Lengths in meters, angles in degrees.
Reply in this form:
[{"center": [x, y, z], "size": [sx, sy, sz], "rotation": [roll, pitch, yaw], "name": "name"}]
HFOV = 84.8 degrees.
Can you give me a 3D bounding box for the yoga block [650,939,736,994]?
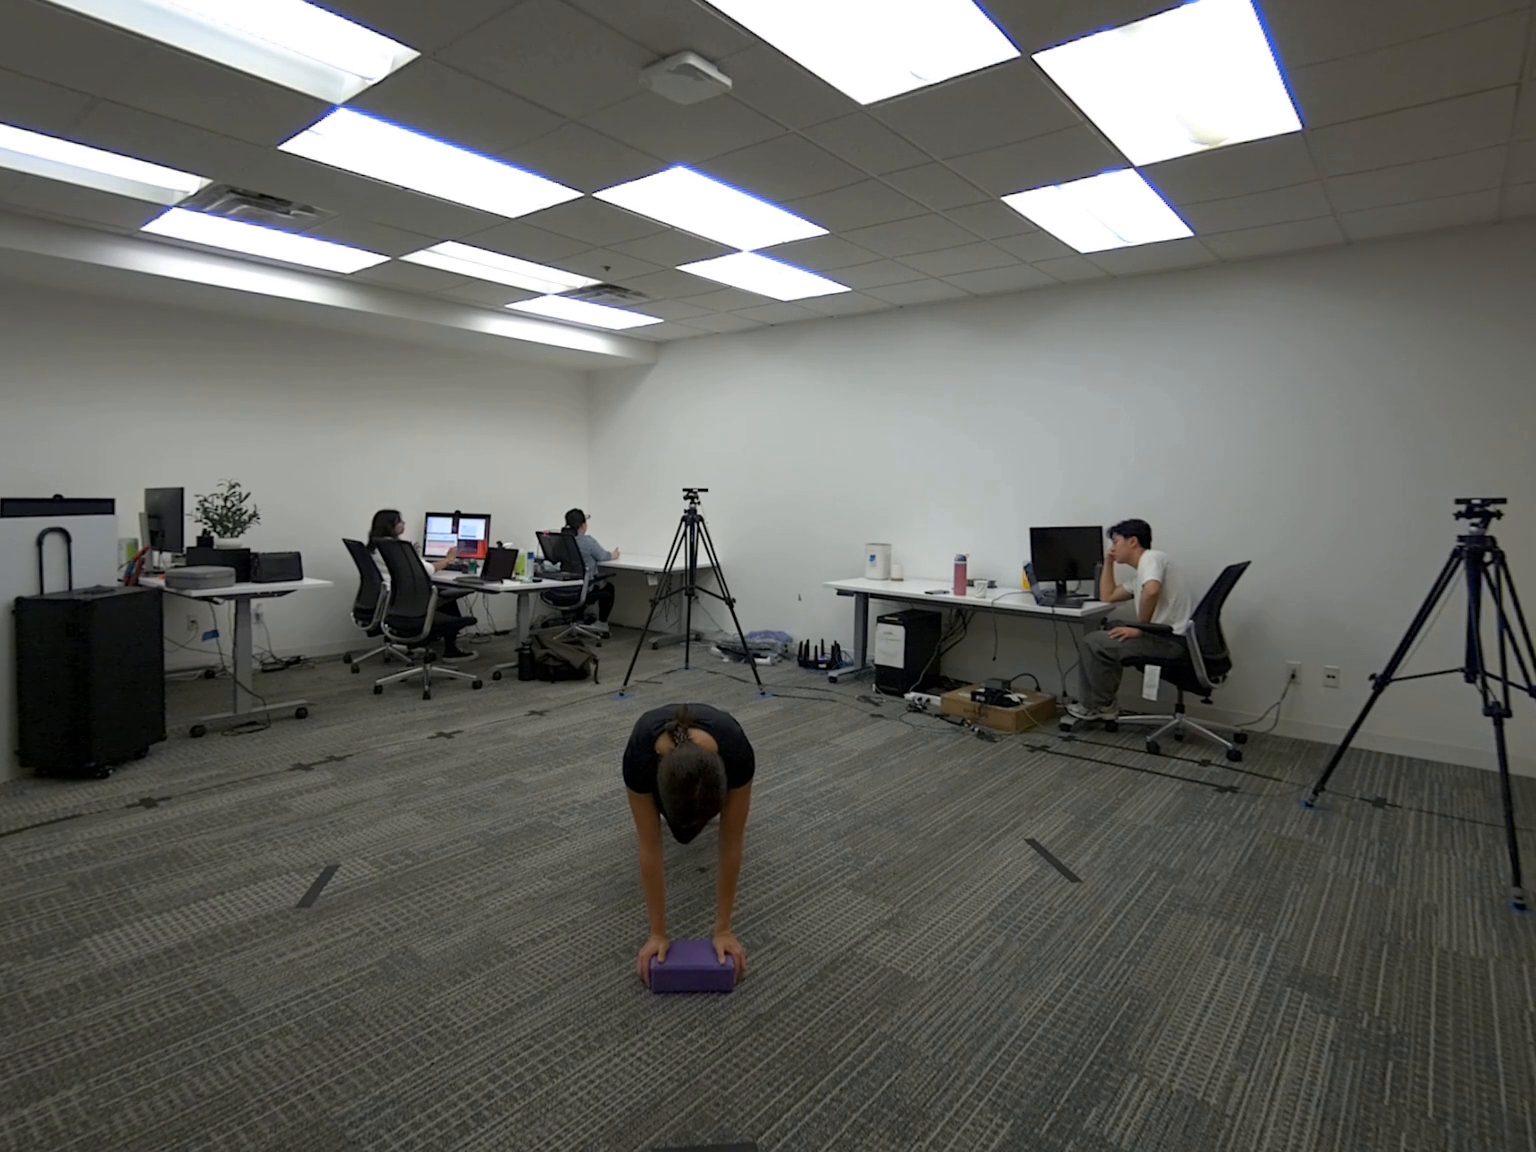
[{"center": [-0.215, 1.099, 2.409], "size": [0.229, 0.076, 0.150], "rotation": [1, 4, -3], "name": "yoga block"}]
